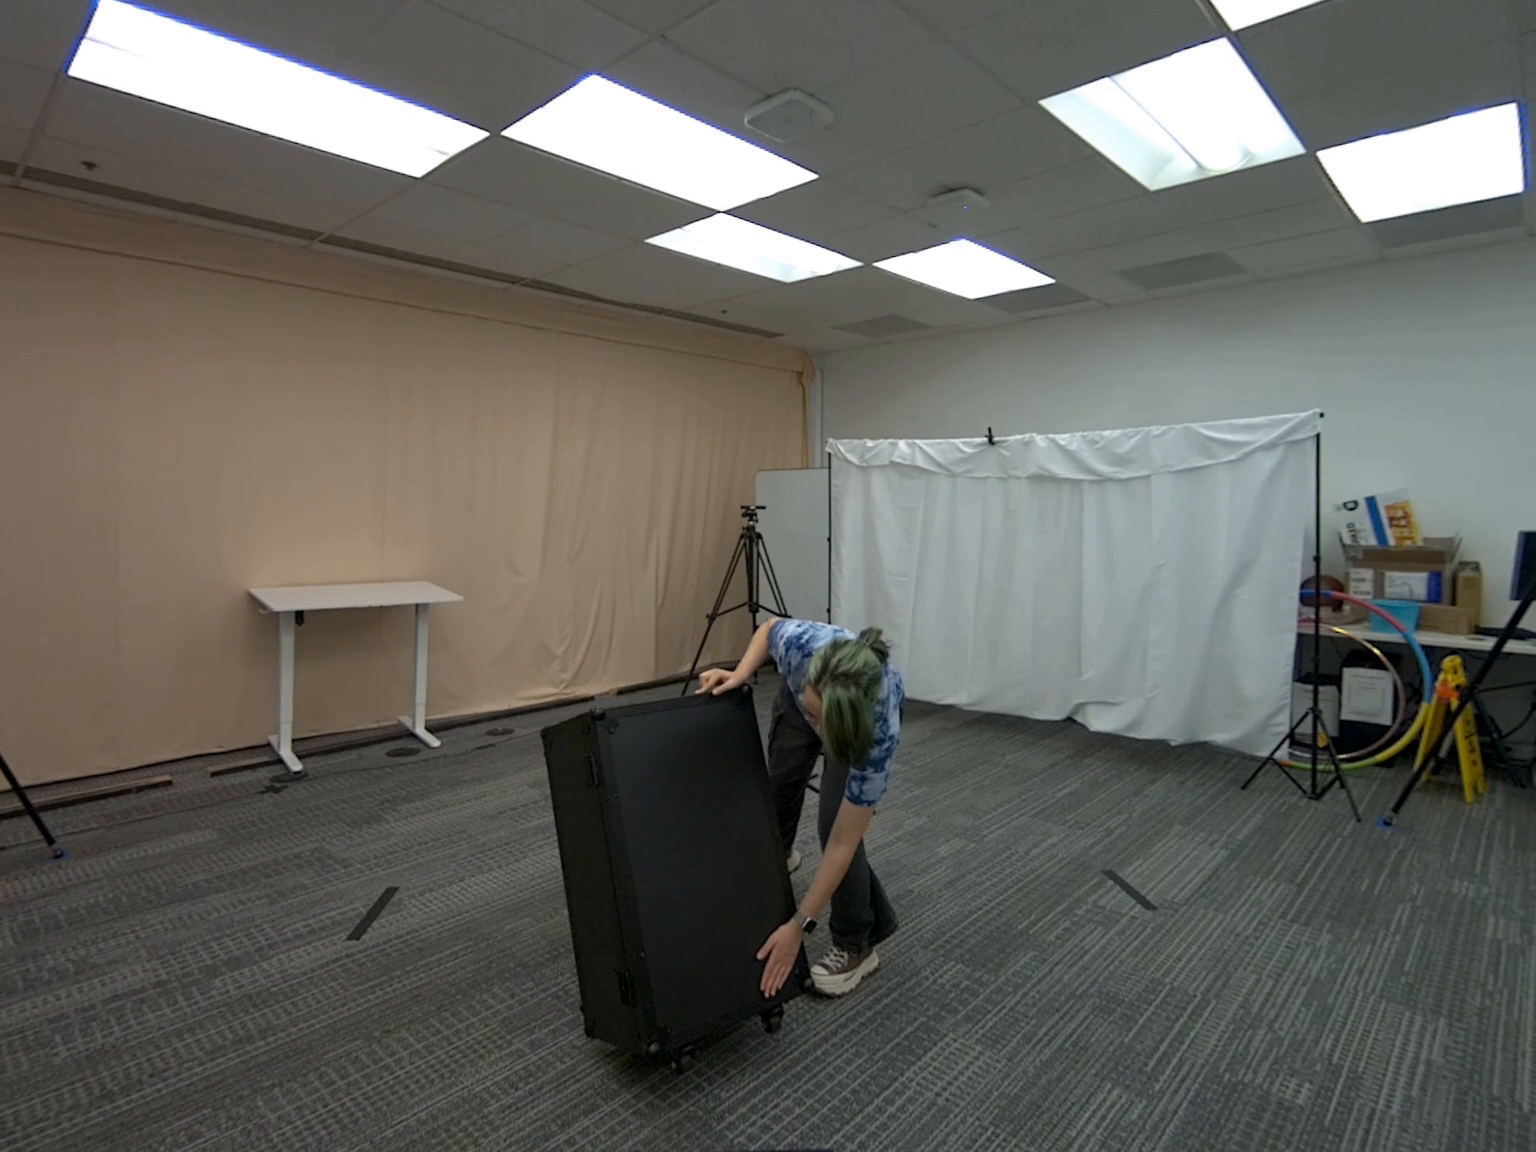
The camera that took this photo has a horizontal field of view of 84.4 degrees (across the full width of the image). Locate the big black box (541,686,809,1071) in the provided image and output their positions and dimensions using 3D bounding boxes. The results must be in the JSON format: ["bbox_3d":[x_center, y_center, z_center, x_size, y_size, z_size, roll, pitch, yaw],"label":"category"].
[{"bbox_3d":[-0.266,0.718,2.235,0.506,0.870,0.404,-3,-14,-34],"label":"big black box"}]
